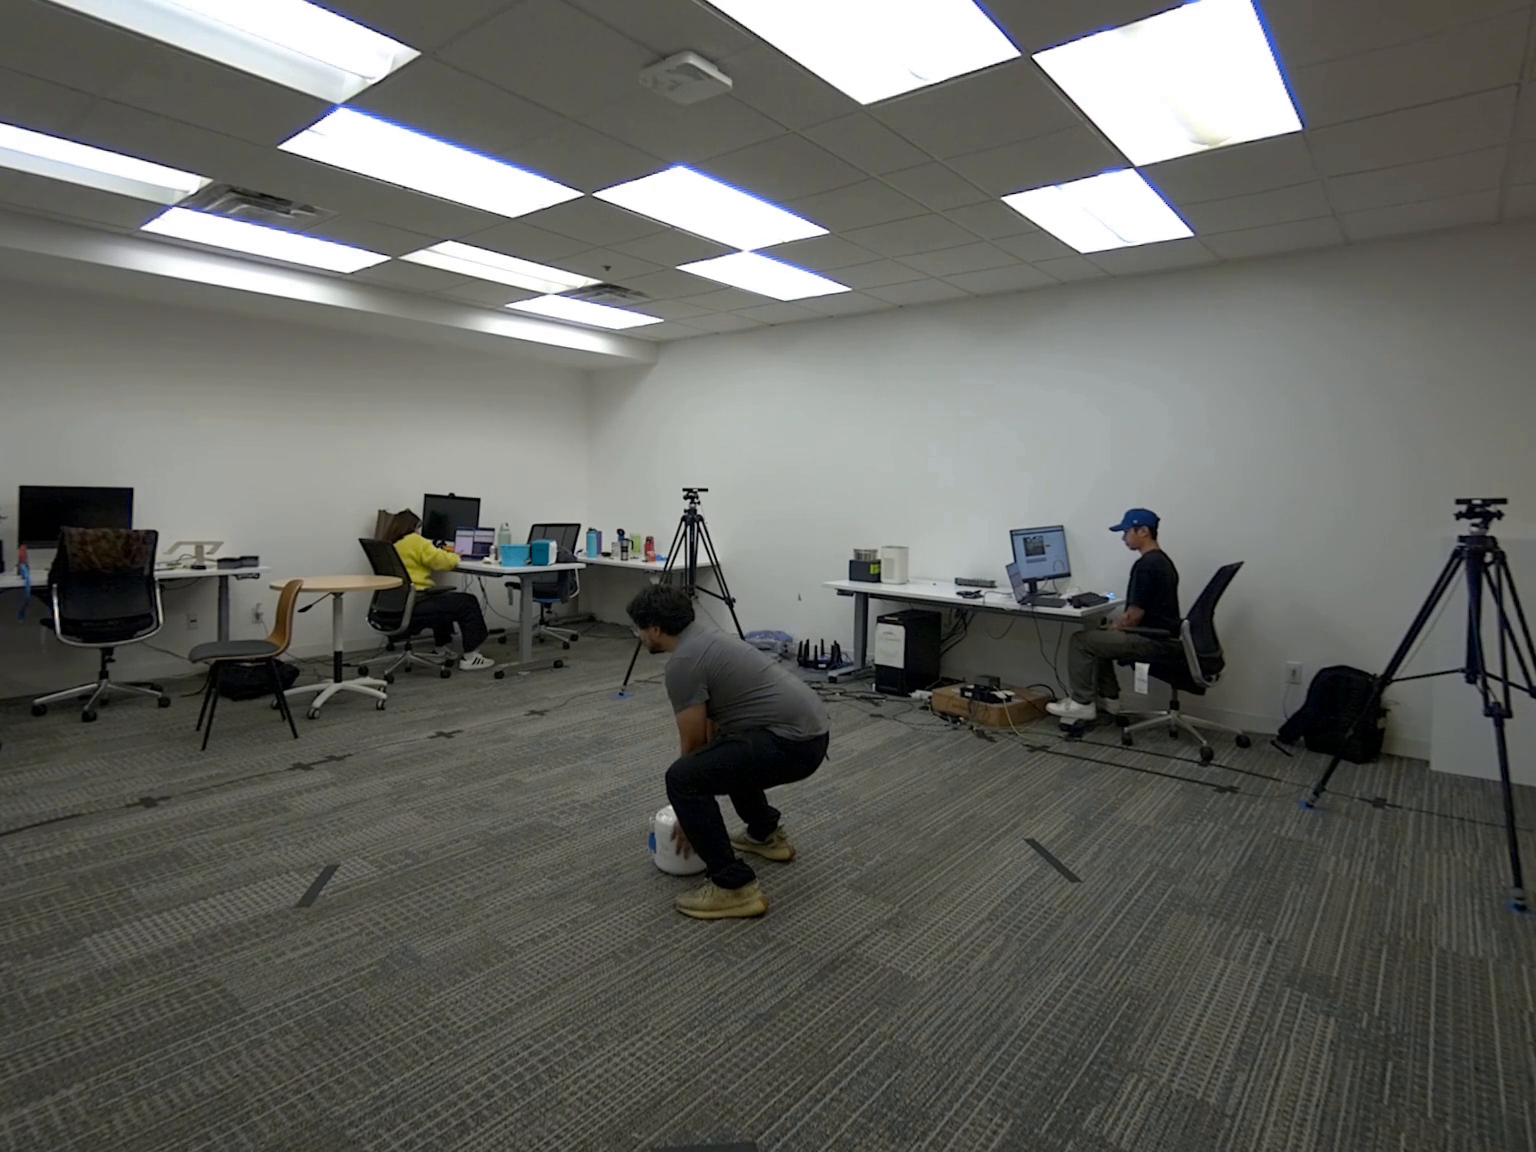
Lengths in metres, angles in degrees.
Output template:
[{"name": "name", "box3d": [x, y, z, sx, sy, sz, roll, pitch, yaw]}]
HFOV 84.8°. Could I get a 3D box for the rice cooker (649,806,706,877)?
[{"name": "rice cooker", "box3d": [-0.323, 0.946, 3.128, 0.212, 0.232, 0.227, -1, 5, -29]}]
